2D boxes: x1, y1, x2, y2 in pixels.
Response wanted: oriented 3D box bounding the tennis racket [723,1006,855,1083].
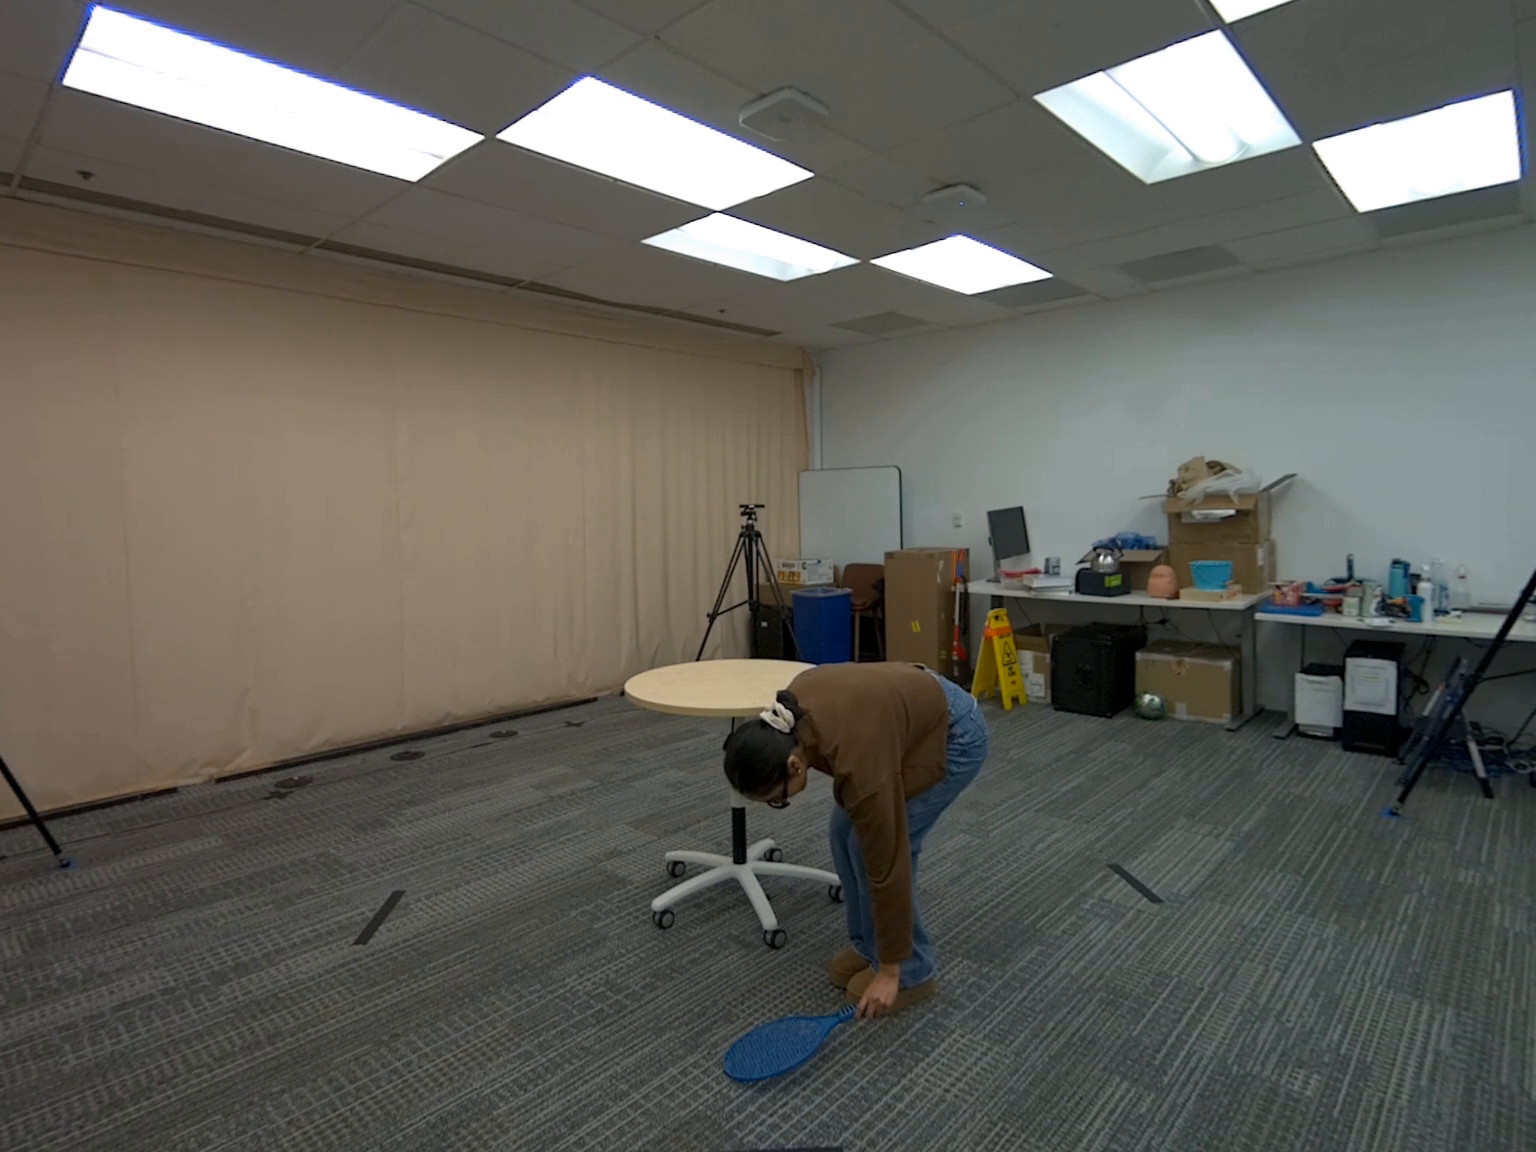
[{"bbox_3d":[0.095,1.146,2.116,0.427,0.031,0.217,-18,5,-15],"label":"tennis racket"}]
